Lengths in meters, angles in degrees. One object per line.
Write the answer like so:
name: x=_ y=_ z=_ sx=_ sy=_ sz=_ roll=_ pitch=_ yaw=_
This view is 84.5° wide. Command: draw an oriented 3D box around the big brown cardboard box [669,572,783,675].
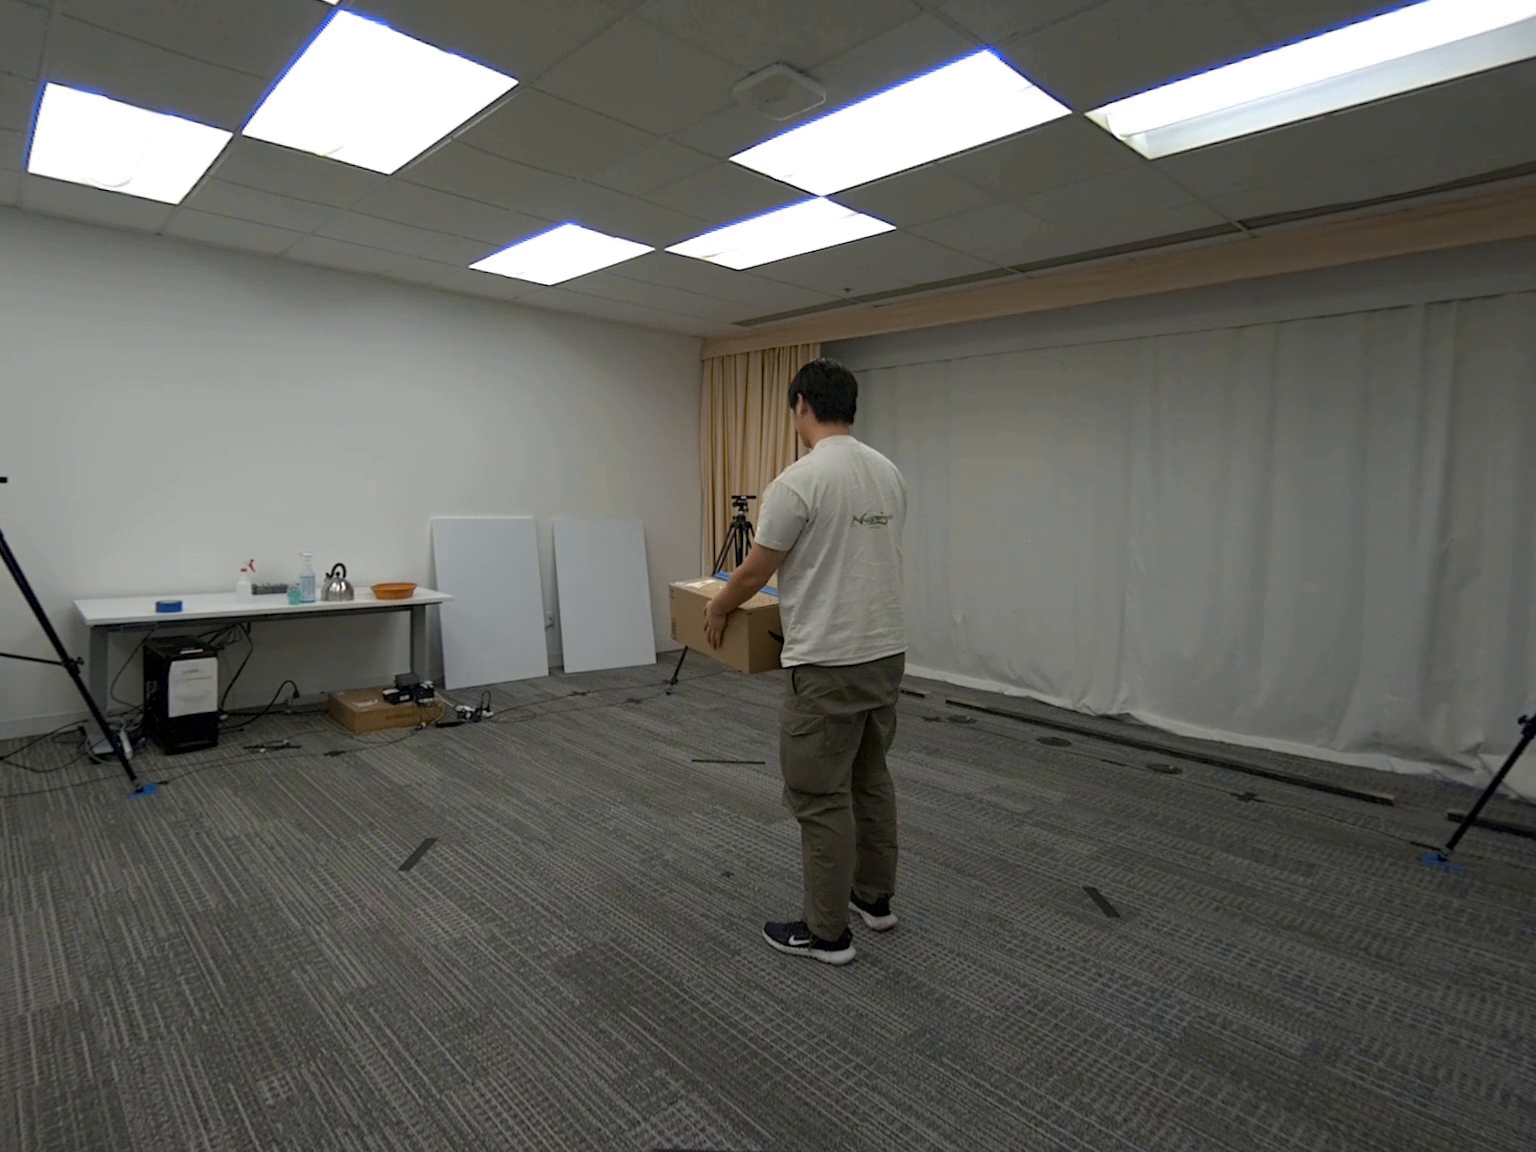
big brown cardboard box: x=-0.041 y=0.146 z=3.018 sx=0.410 sy=0.231 sz=0.604 roll=-7 pitch=12 yaw=-31
